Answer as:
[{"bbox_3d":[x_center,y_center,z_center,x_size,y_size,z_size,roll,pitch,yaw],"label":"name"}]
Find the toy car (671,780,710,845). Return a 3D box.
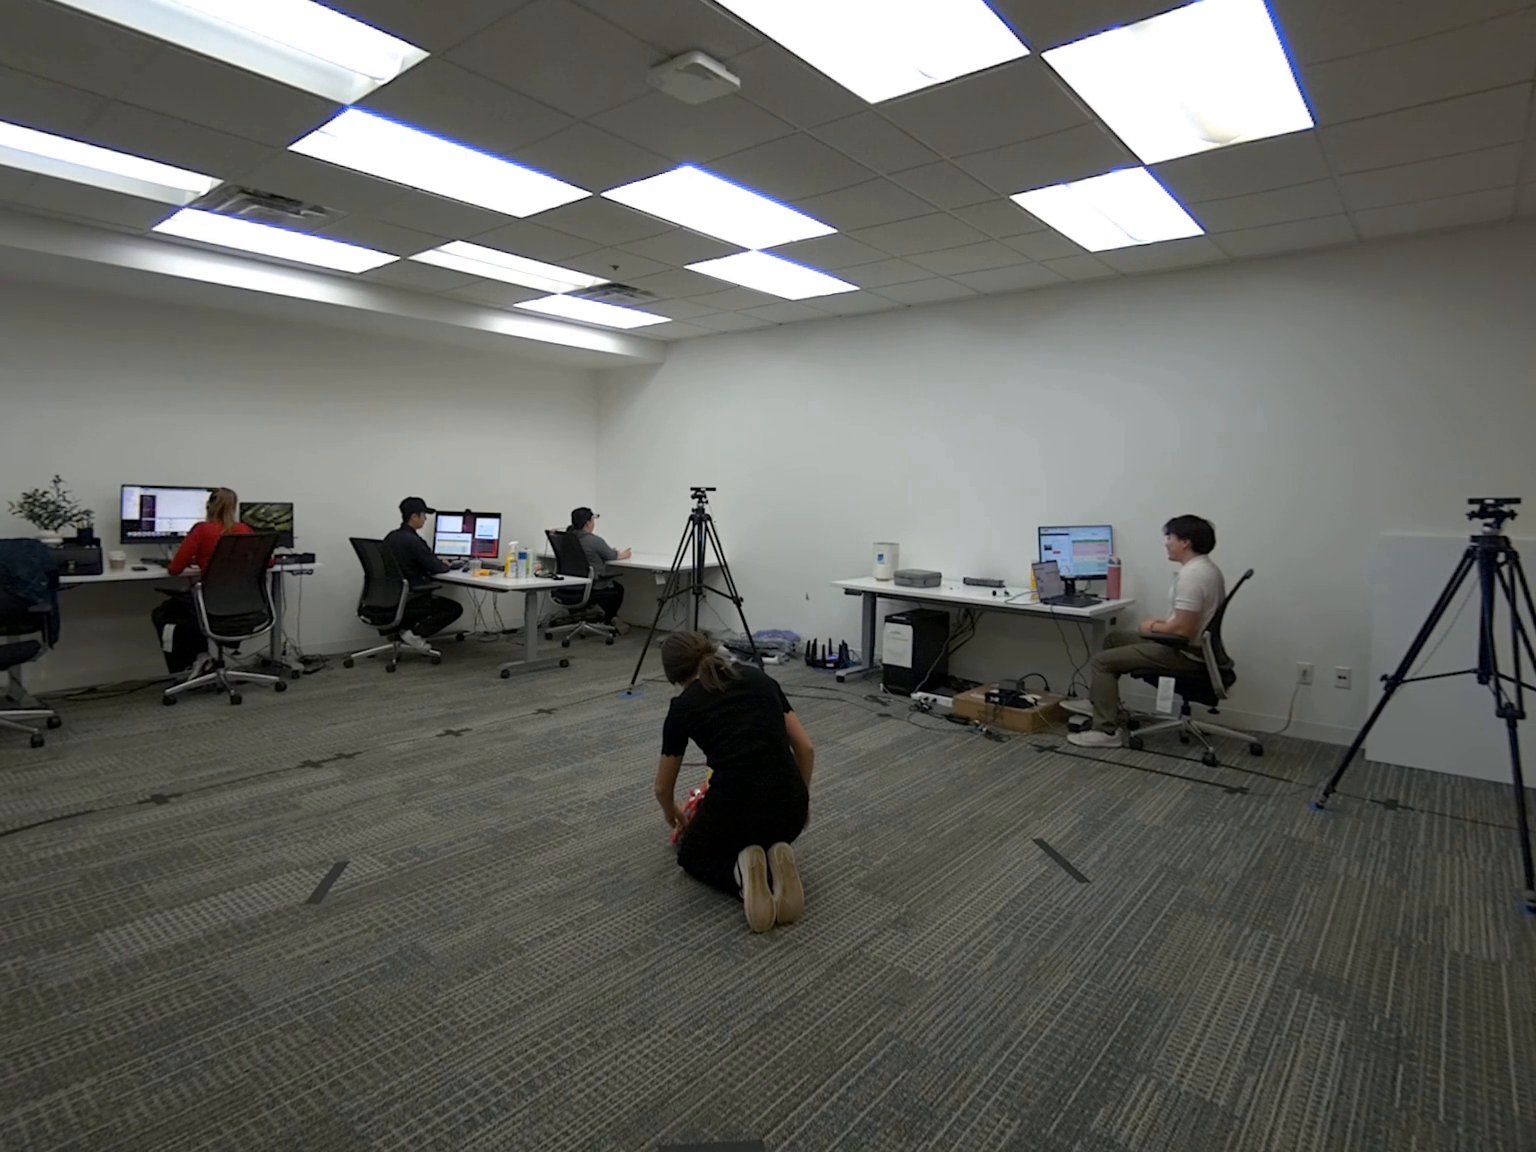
[{"bbox_3d":[-0.313,0.923,3.315,0.082,0.256,0.131,20,-14,-9],"label":"toy car"}]
